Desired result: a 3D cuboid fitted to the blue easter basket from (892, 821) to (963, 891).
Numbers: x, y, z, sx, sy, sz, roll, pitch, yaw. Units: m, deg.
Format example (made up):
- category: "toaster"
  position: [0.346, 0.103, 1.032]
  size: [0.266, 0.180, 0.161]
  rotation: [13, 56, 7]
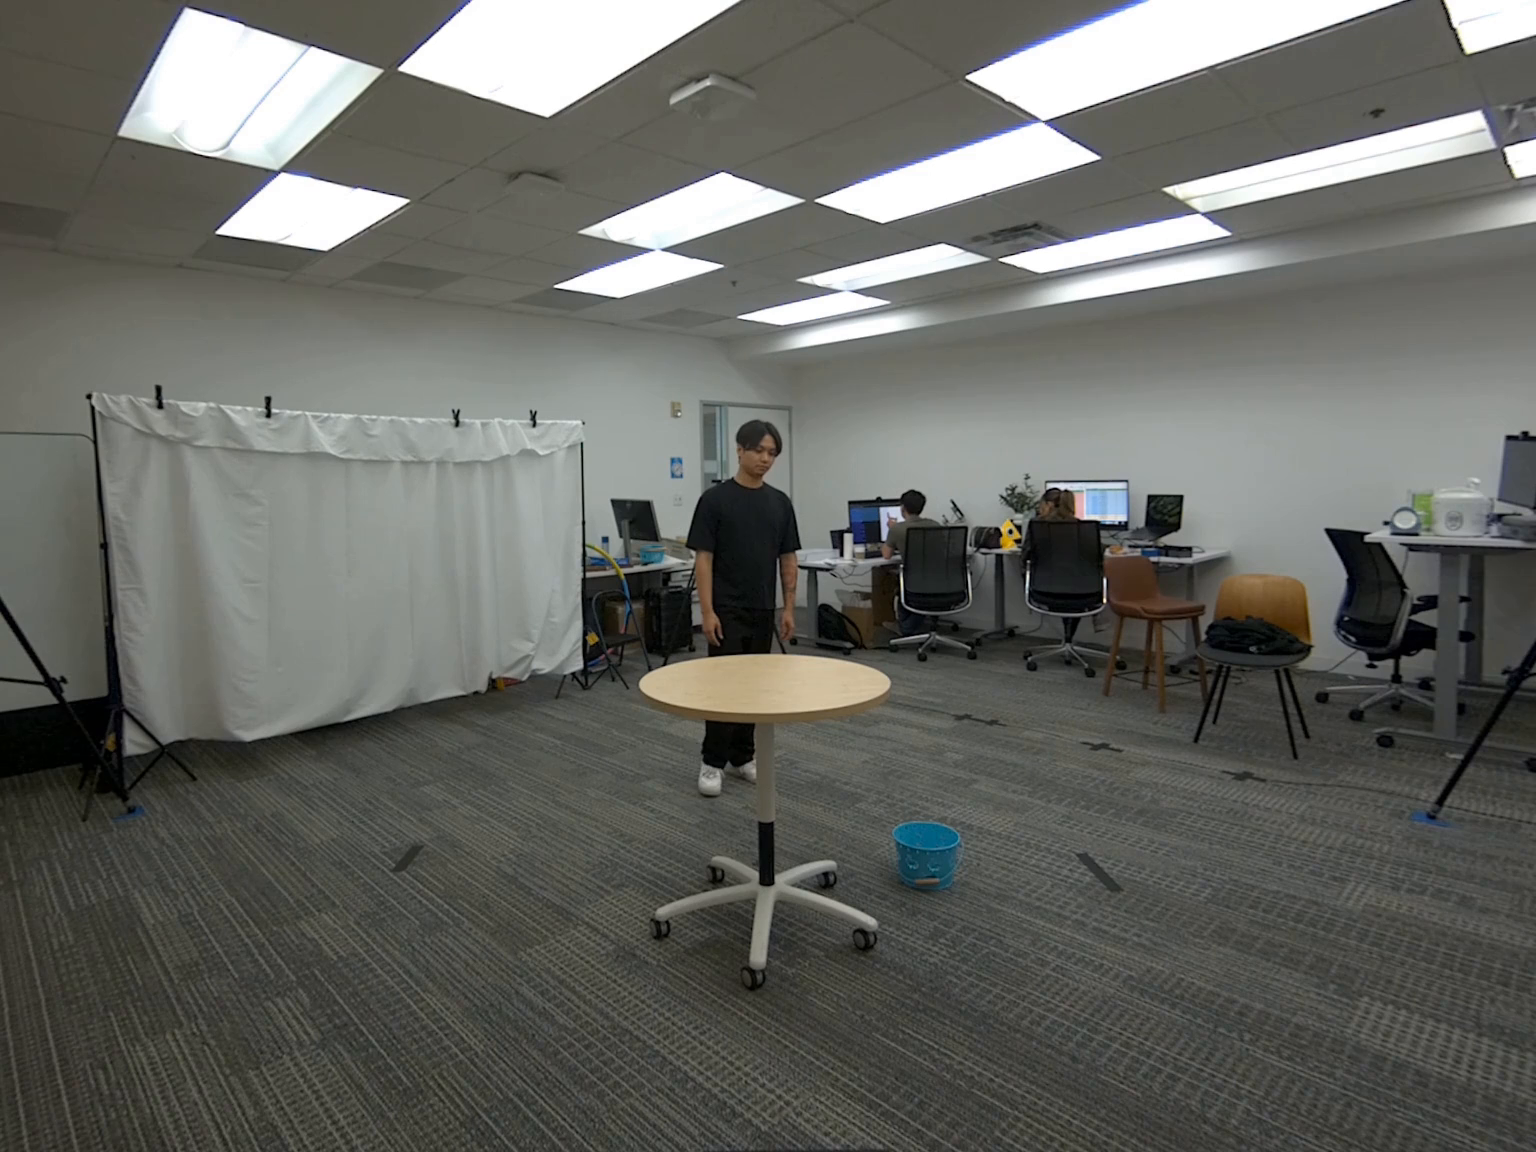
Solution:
- category: "blue easter basket"
  position: [0.550, 0.972, 2.968]
  size: [0.243, 0.155, 0.245]
  rotation: [-2, 5, -1]
